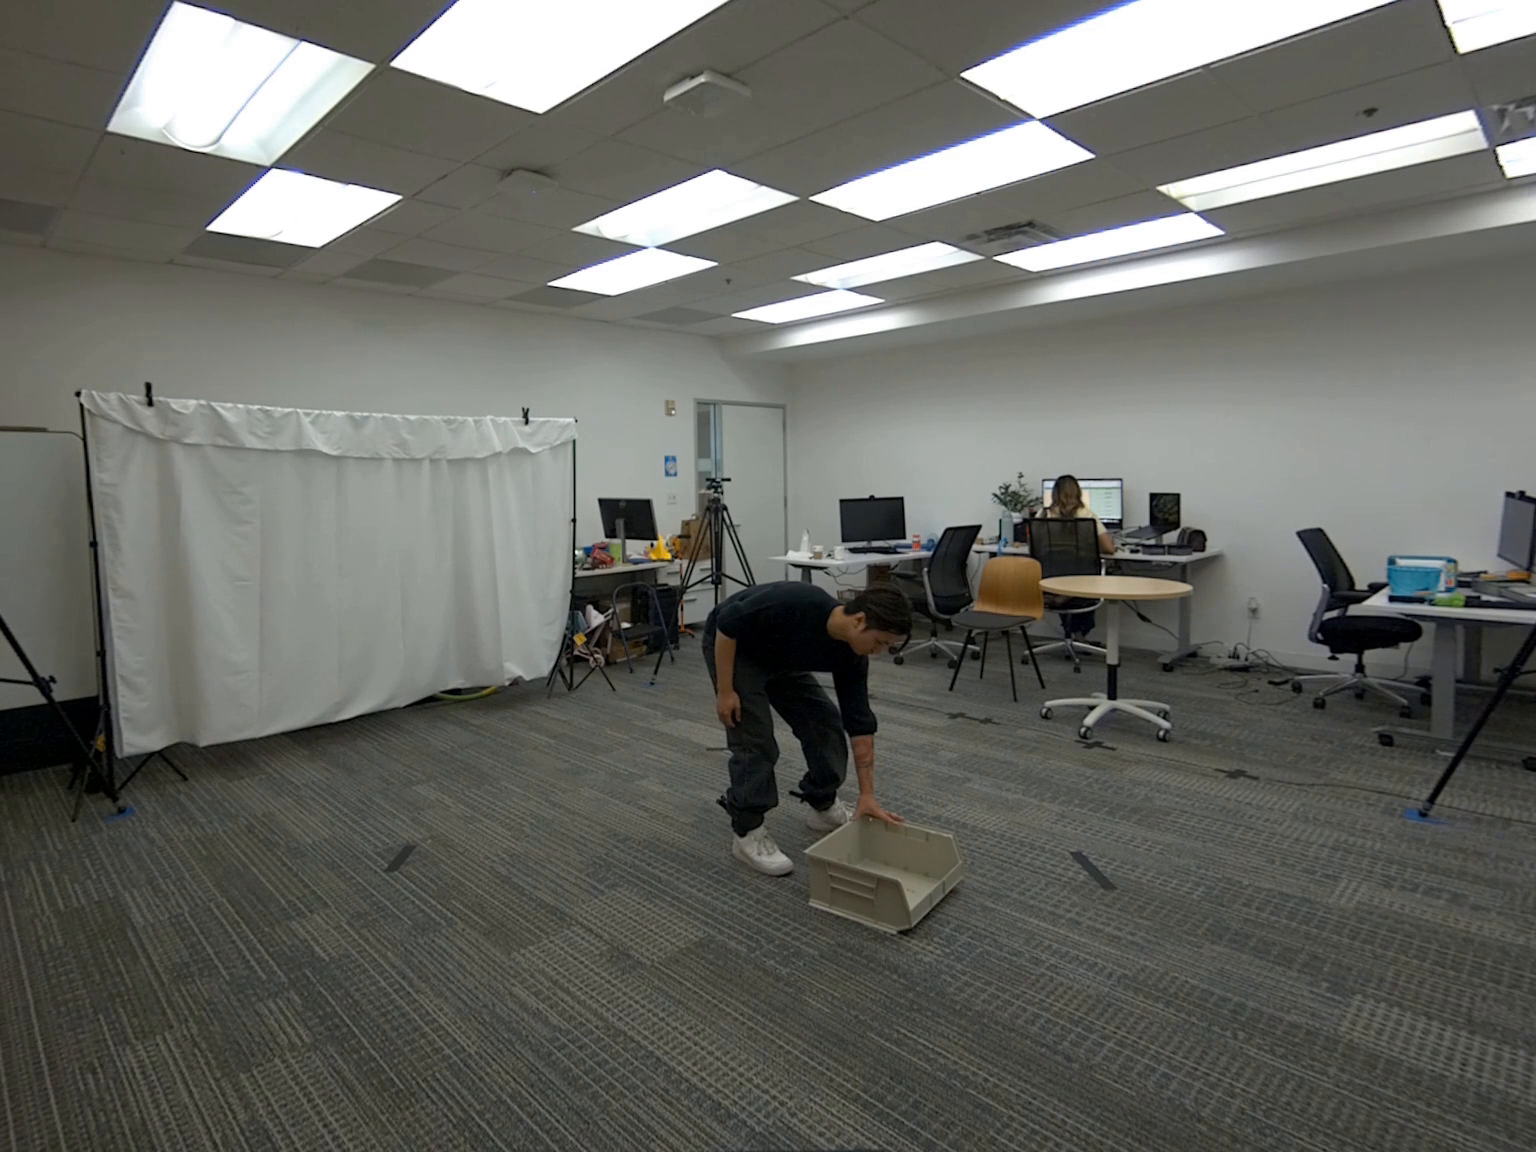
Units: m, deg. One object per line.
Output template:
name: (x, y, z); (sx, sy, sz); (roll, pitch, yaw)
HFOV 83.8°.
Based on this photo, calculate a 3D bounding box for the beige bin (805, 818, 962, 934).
beige bin: (0.394, 0.979, 2.834); (0.388, 0.188, 0.412); (2, 7, 36)
